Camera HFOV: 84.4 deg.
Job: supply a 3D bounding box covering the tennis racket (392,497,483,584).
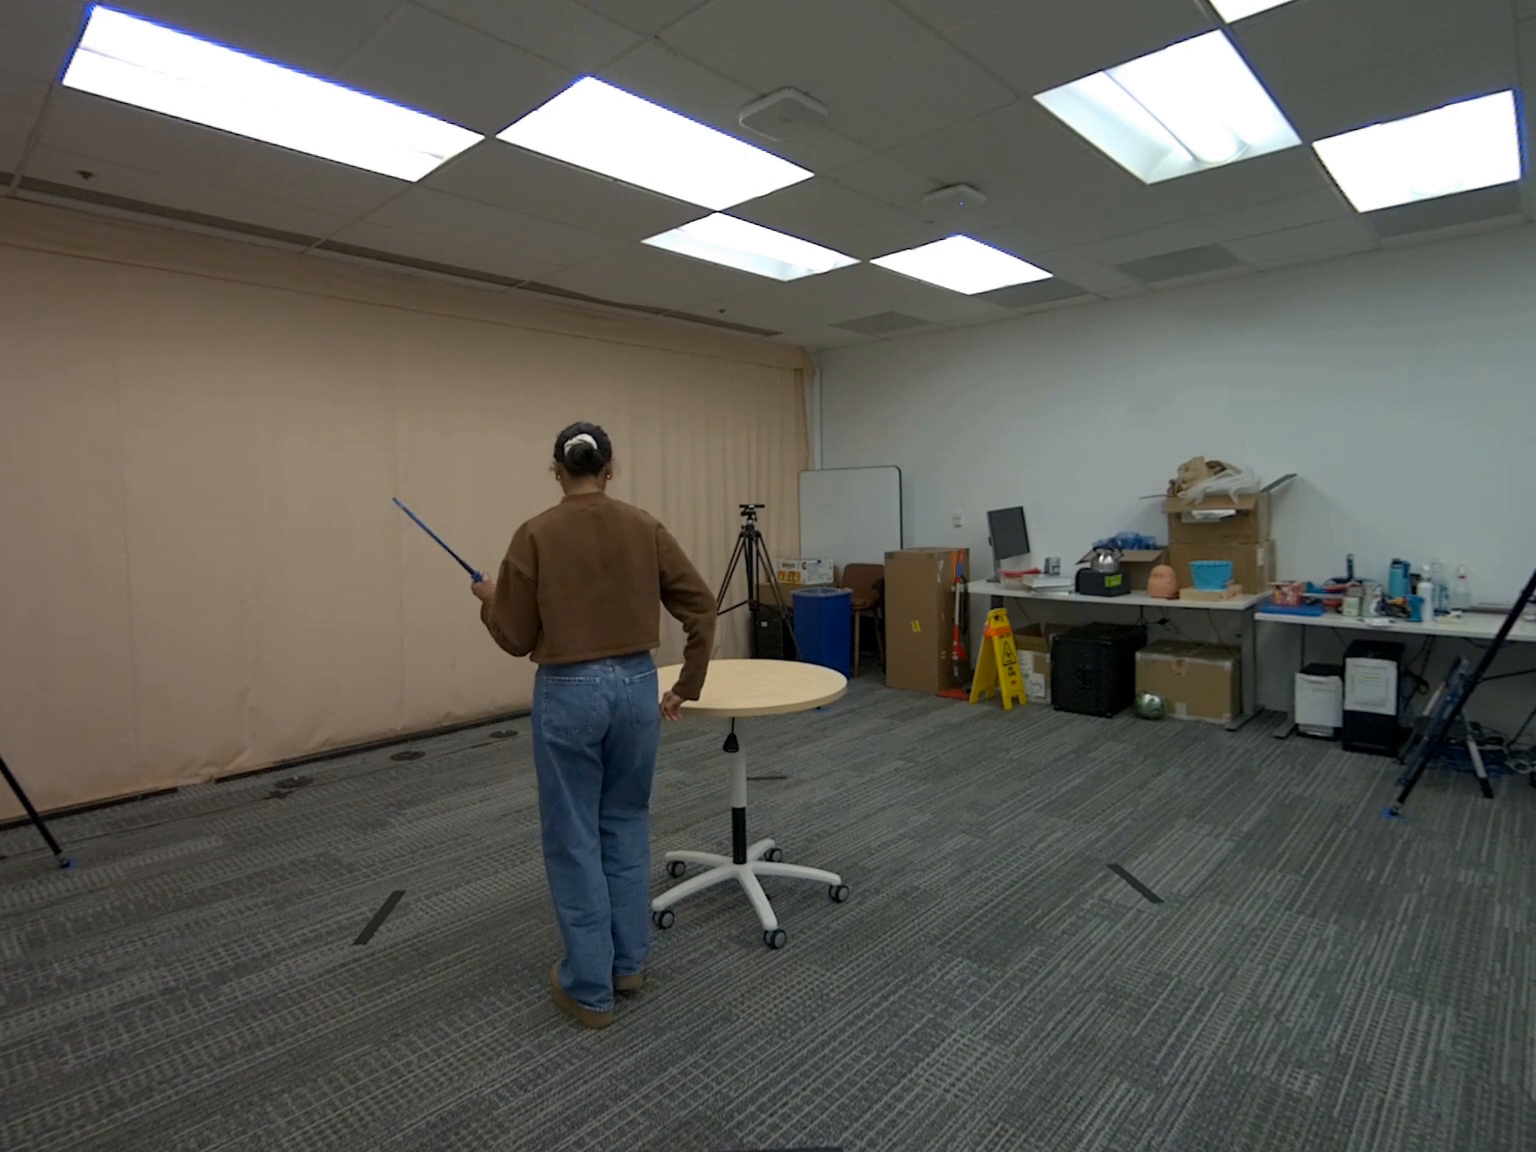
[{"bbox_3d":[-0.904,-0.070,2.418,0.031,0.422,0.220,-45,26,-13],"label":"tennis racket"}]
